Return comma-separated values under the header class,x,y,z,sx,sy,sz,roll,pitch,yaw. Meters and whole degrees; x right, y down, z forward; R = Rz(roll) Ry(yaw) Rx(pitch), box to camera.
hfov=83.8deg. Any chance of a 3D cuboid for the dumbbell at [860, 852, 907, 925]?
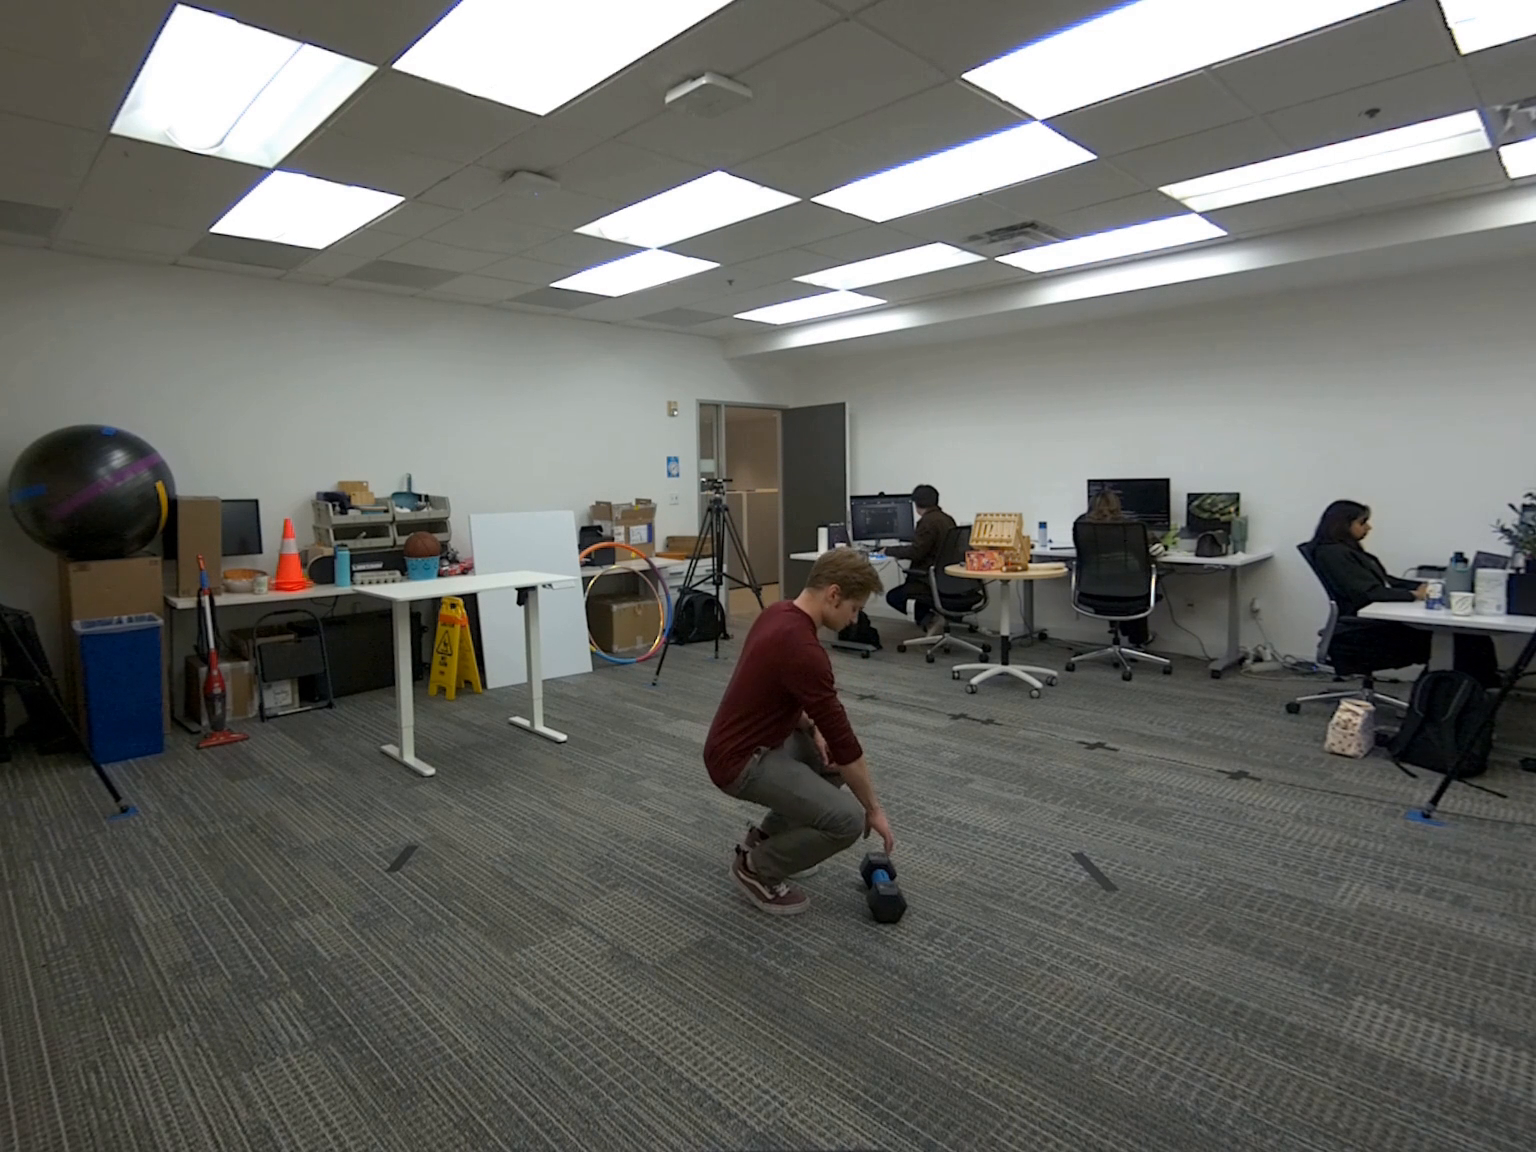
class,x,y,z,sx,sy,sz,roll,pitch,yaw
dumbbell,0.376,1.016,2.806,0.109,0.122,0.295,-31,6,2
